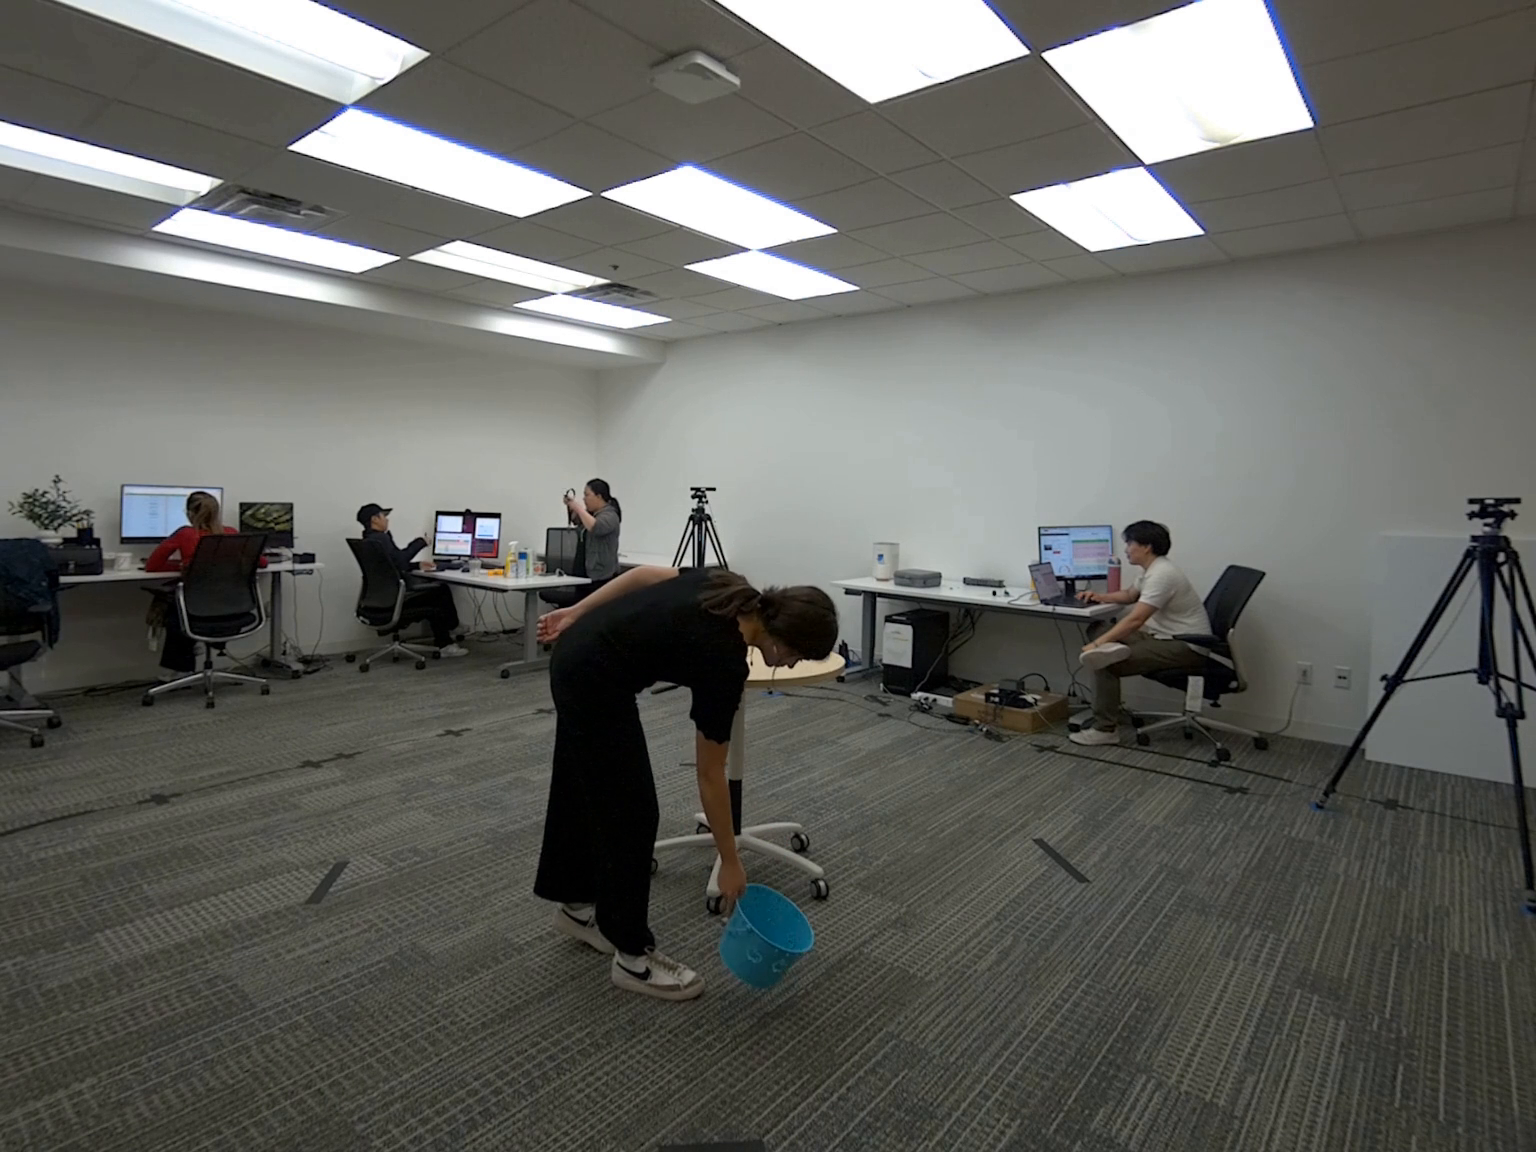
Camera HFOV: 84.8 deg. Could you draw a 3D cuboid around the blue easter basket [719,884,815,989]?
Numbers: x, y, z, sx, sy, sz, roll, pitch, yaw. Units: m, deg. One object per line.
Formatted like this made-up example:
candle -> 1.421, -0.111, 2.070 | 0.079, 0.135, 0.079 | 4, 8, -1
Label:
blue easter basket -> -0.016, 0.961, 2.244 | 0.241, 0.155, 0.247 | 26, 13, -8
